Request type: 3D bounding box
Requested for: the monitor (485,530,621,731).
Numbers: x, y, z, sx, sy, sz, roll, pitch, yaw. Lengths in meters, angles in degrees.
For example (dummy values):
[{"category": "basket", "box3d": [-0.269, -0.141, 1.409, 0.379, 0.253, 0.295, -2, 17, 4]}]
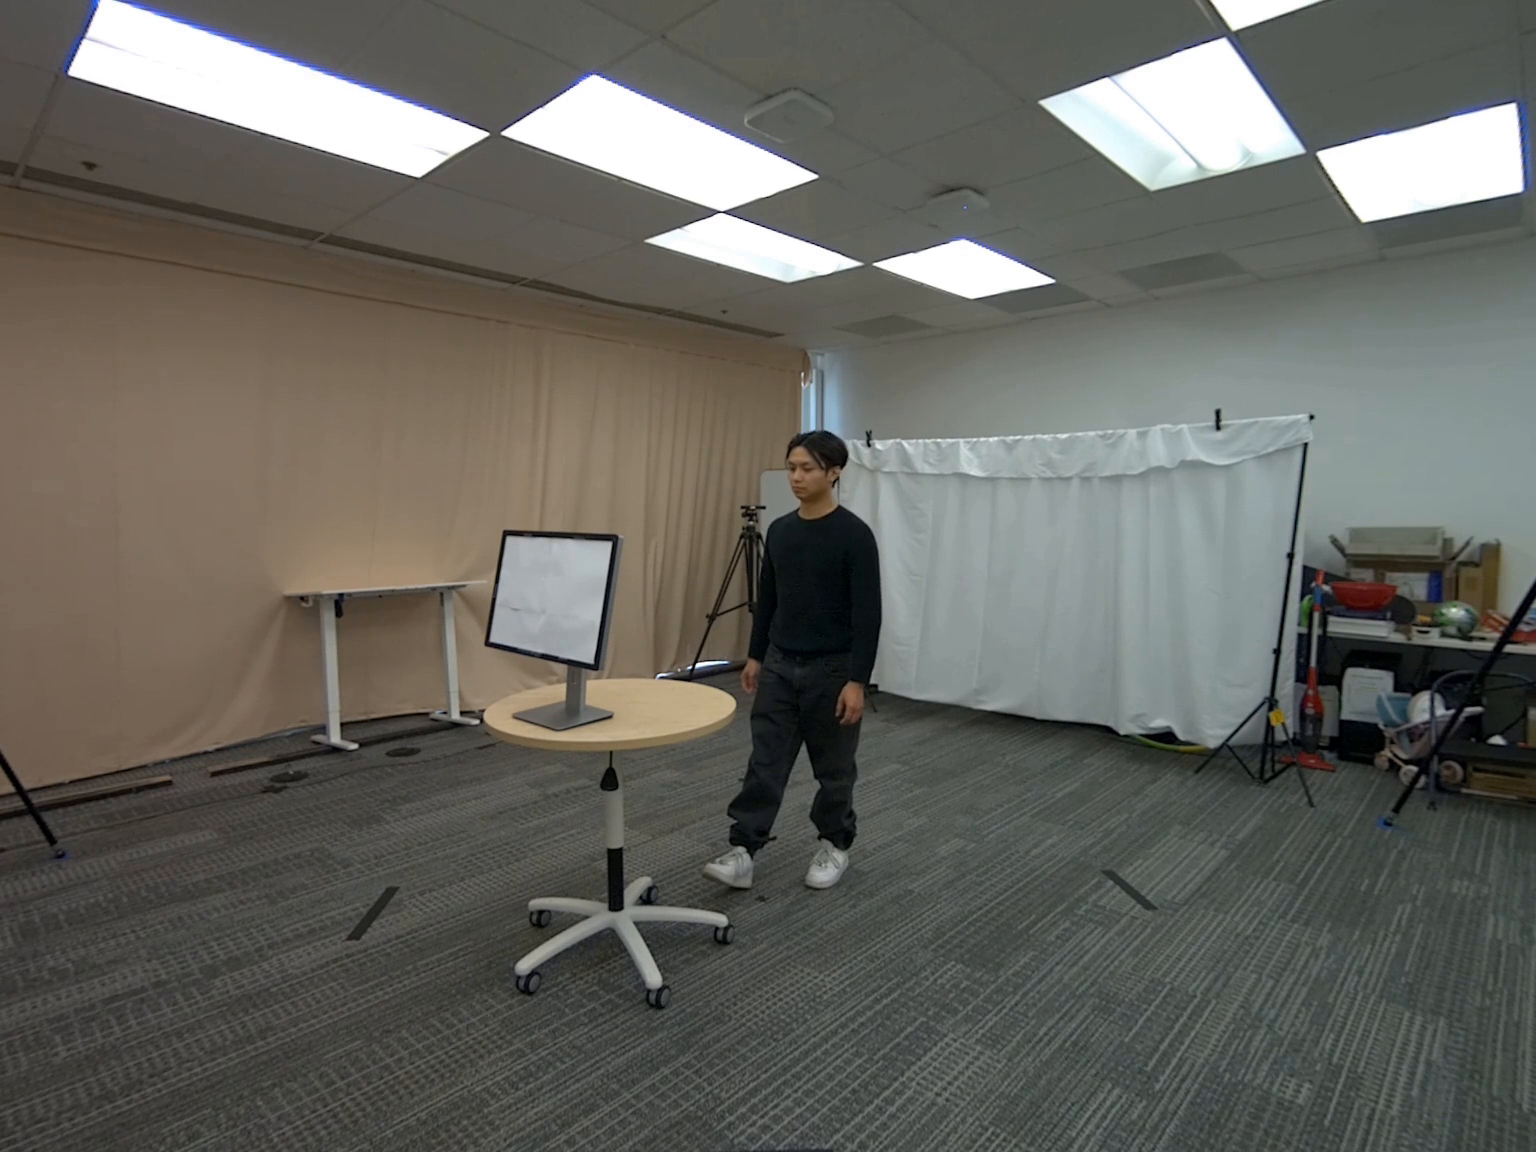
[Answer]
[{"category": "monitor", "box3d": [-0.601, 0.151, 2.435, 0.557, 0.521, 0.181, 3, 6, 40]}]
